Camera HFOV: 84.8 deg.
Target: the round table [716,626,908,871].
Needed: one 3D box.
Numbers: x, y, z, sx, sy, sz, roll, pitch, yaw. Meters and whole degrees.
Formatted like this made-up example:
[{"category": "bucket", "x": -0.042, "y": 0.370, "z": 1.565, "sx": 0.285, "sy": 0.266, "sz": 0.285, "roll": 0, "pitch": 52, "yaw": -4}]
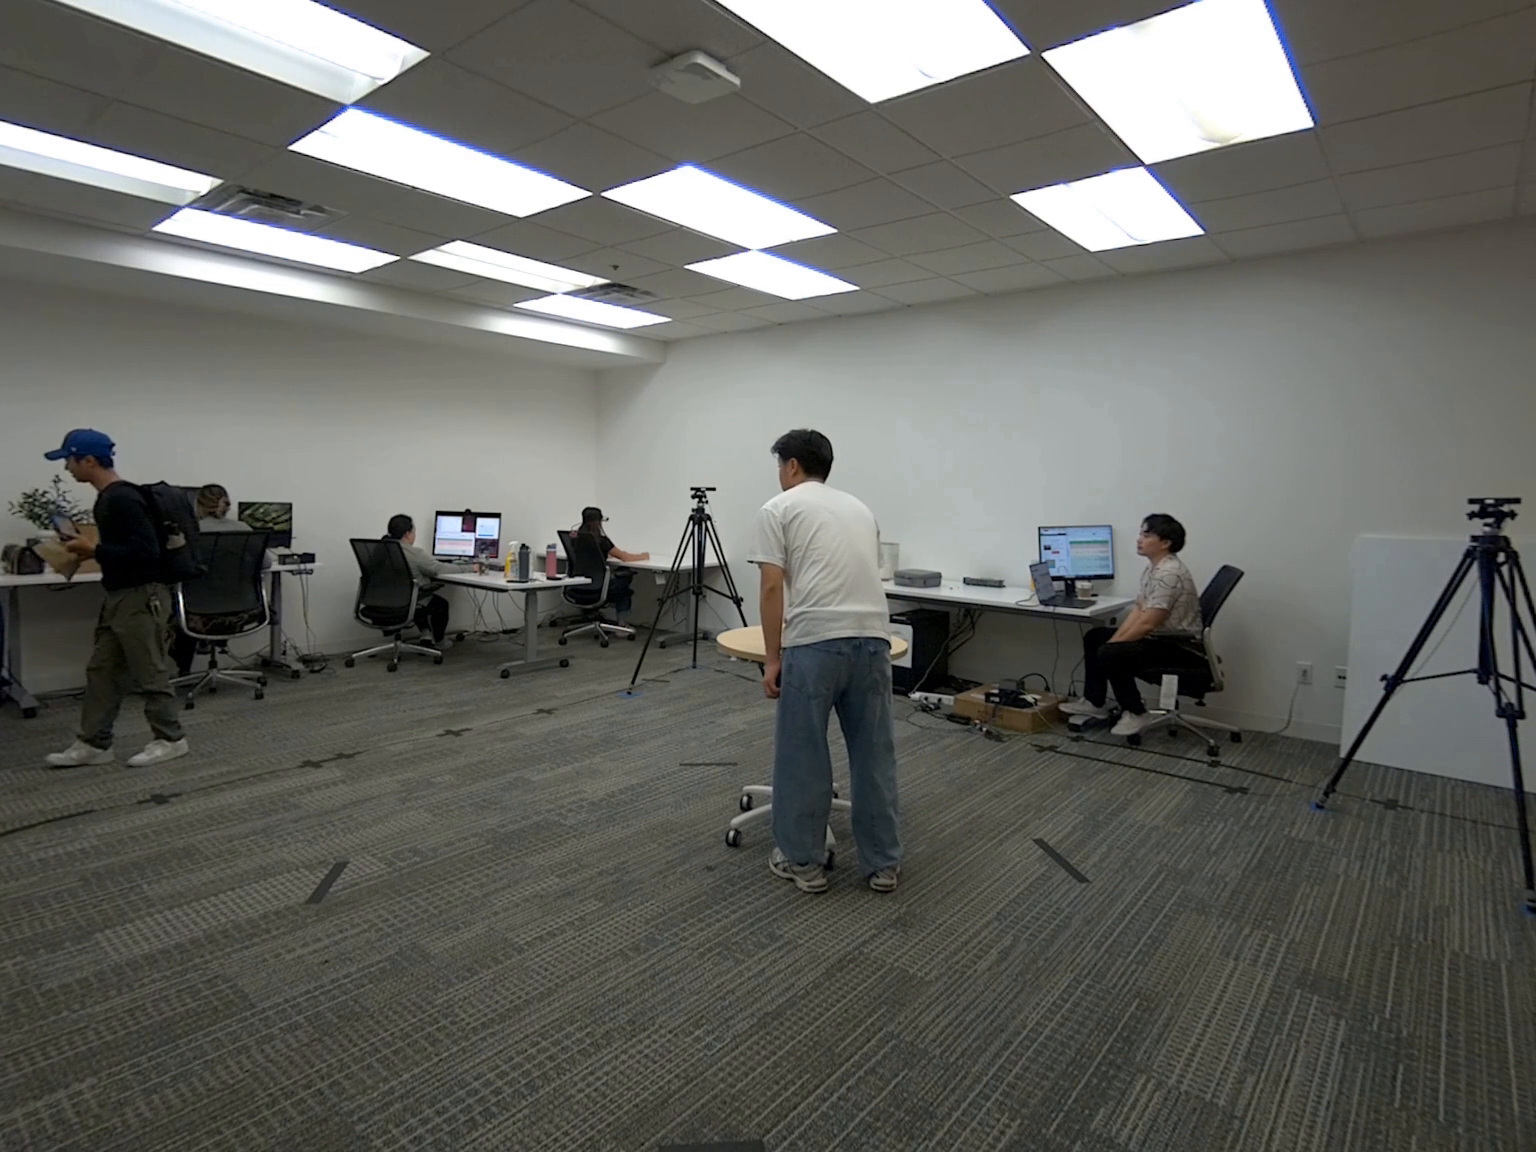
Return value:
[{"category": "round table", "x": 0.146, "y": 0.645, "z": 3.465, "sx": 0.763, "sy": 0.791, "sz": 0.768, "roll": 1, "pitch": 4, "yaw": -2}]
